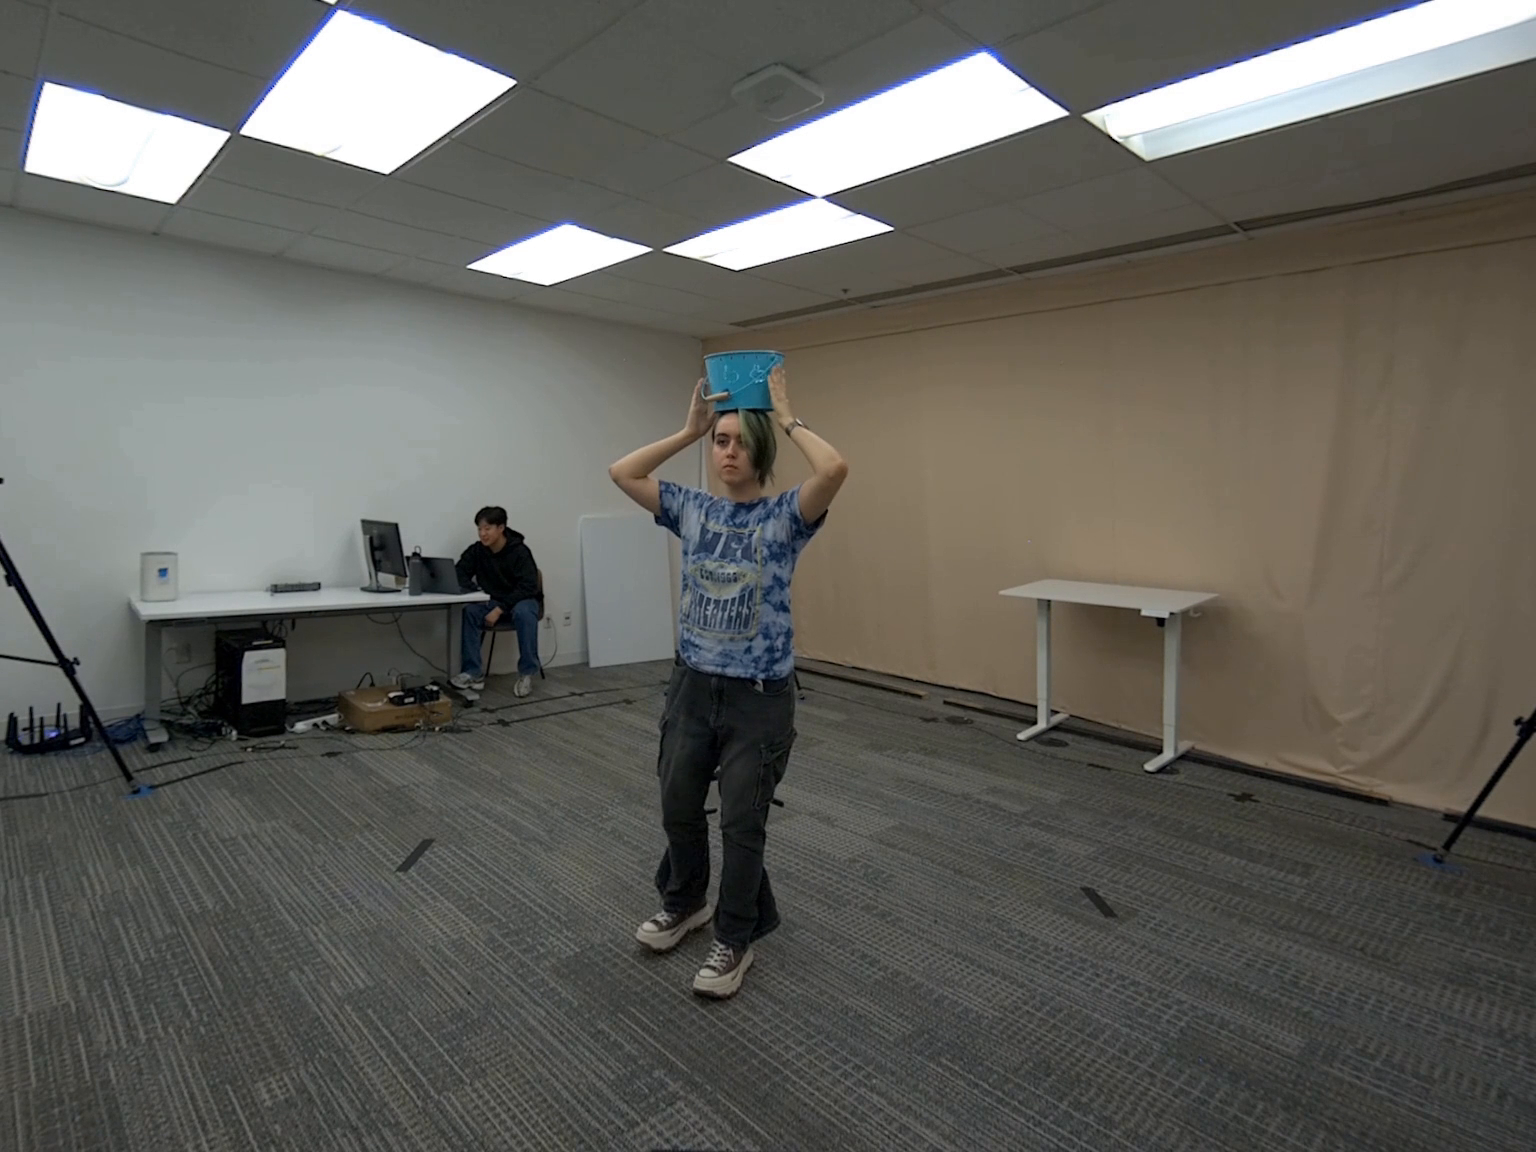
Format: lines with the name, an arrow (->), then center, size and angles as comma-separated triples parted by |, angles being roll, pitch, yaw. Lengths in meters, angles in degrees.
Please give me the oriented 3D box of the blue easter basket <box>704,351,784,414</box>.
blue easter basket -> -0.074, -0.540, 2.378 | 0.243, 0.155, 0.245 | 0, 6, -1
